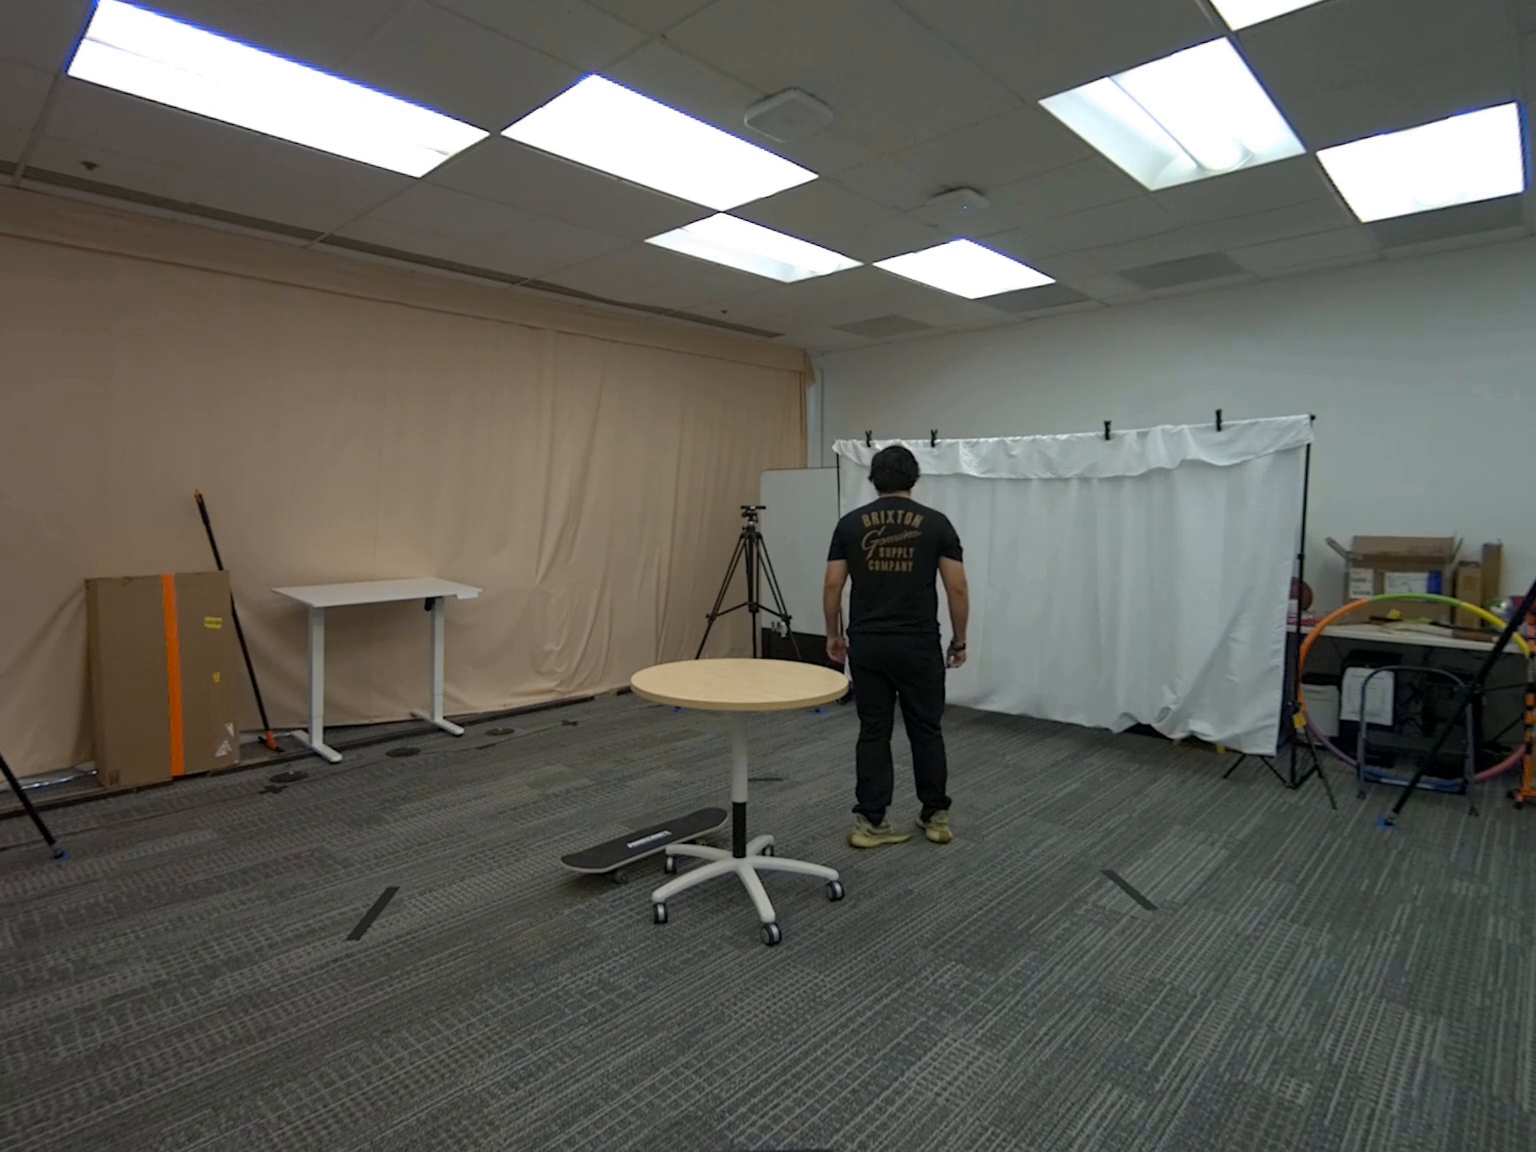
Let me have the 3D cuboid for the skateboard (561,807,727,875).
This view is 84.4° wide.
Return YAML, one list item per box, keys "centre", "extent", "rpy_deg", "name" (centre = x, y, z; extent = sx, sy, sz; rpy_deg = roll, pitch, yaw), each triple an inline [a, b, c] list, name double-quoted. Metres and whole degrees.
- centre: [-0.468, 1.066, 3.306]
  extent: [0.761, 0.110, 0.200]
  rpy_deg: [-5, 6, -44]
  name: "skateboard"
